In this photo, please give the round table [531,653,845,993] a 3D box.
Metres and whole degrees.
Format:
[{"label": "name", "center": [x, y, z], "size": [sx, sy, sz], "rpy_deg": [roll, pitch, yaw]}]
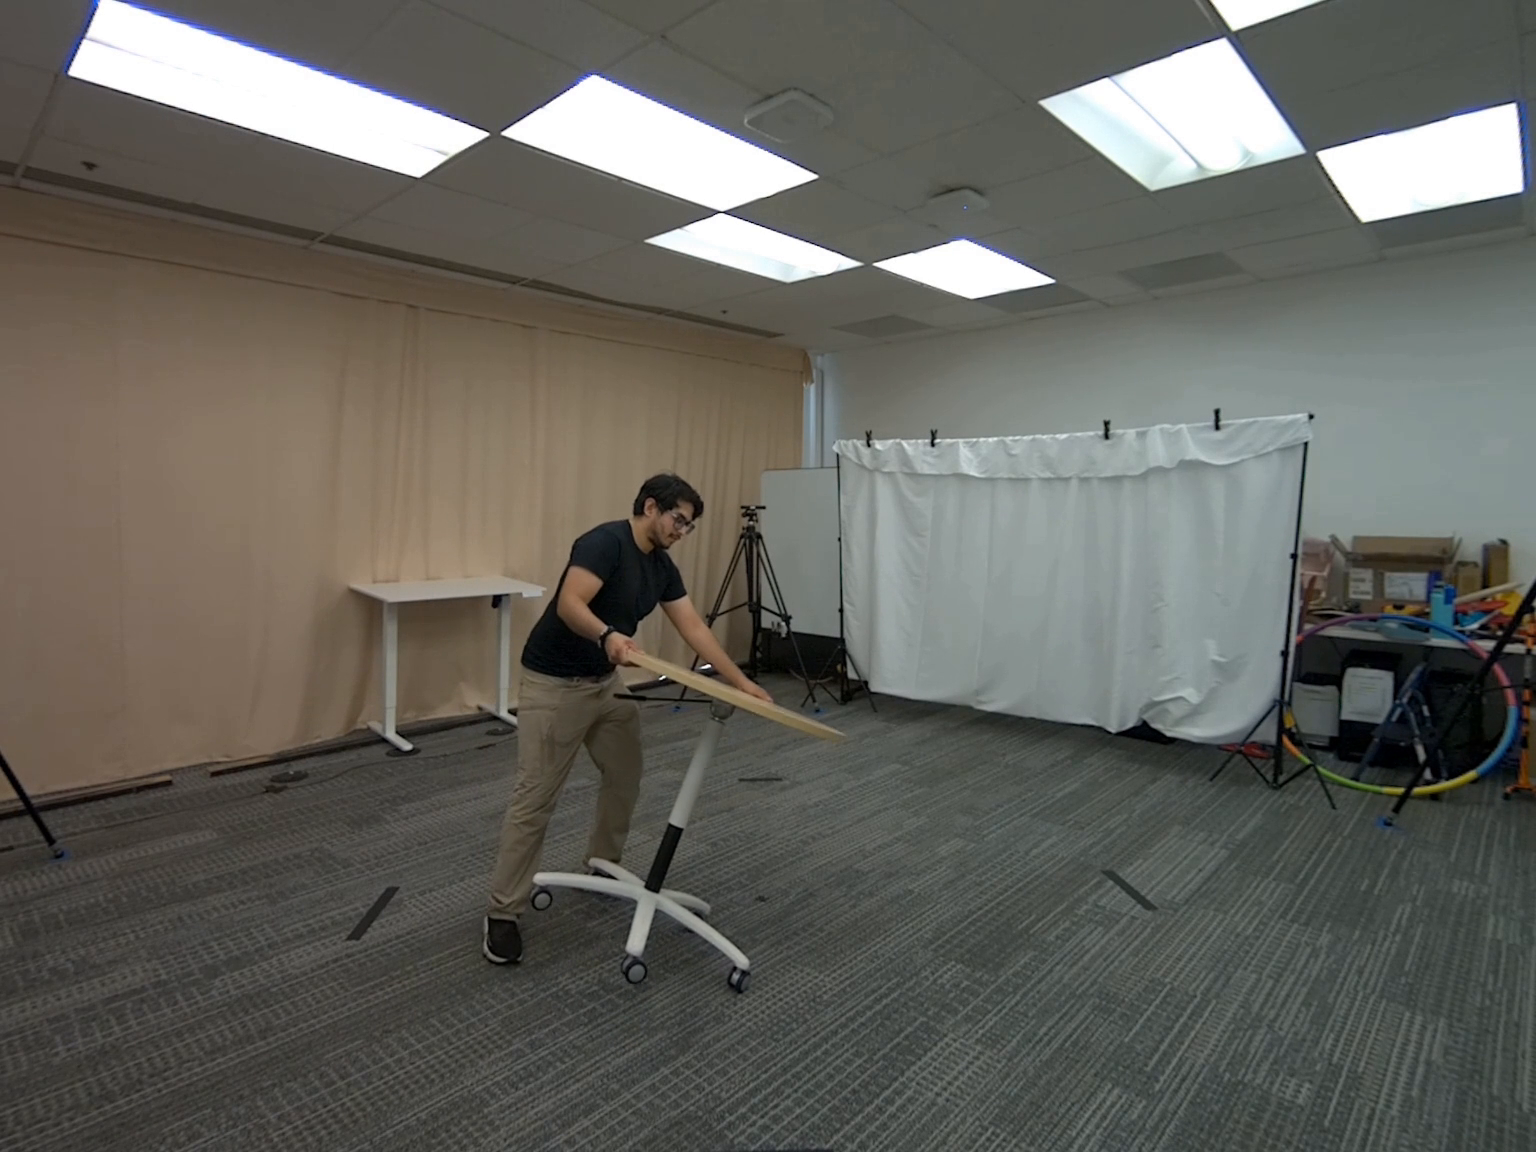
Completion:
[{"label": "round table", "center": [-0.248, 0.715, 2.547], "size": [0.786, 0.787, 0.783], "rpy_deg": [21, -6, 0]}]
